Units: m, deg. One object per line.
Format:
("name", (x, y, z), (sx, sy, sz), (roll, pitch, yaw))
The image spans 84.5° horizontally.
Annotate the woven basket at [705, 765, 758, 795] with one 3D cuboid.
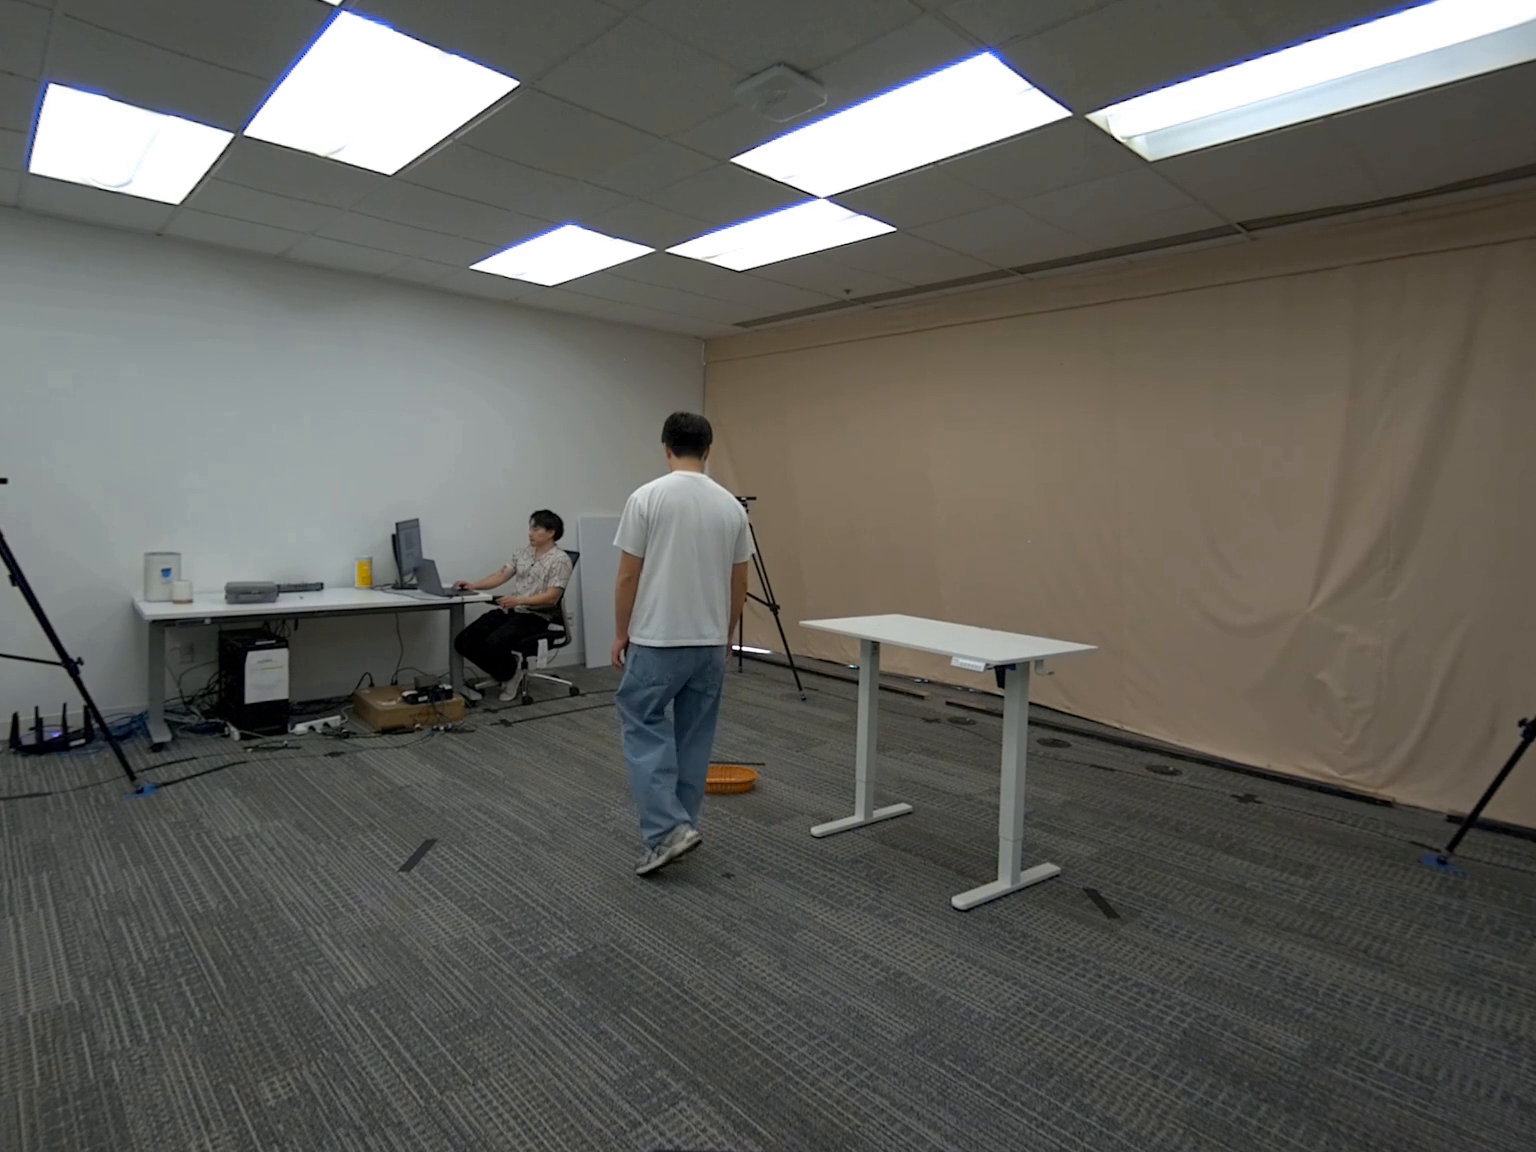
("woven basket", (-0.232, 0.986, 4.067), (0.349, 0.073, 0.254), (1, 5, -4))
